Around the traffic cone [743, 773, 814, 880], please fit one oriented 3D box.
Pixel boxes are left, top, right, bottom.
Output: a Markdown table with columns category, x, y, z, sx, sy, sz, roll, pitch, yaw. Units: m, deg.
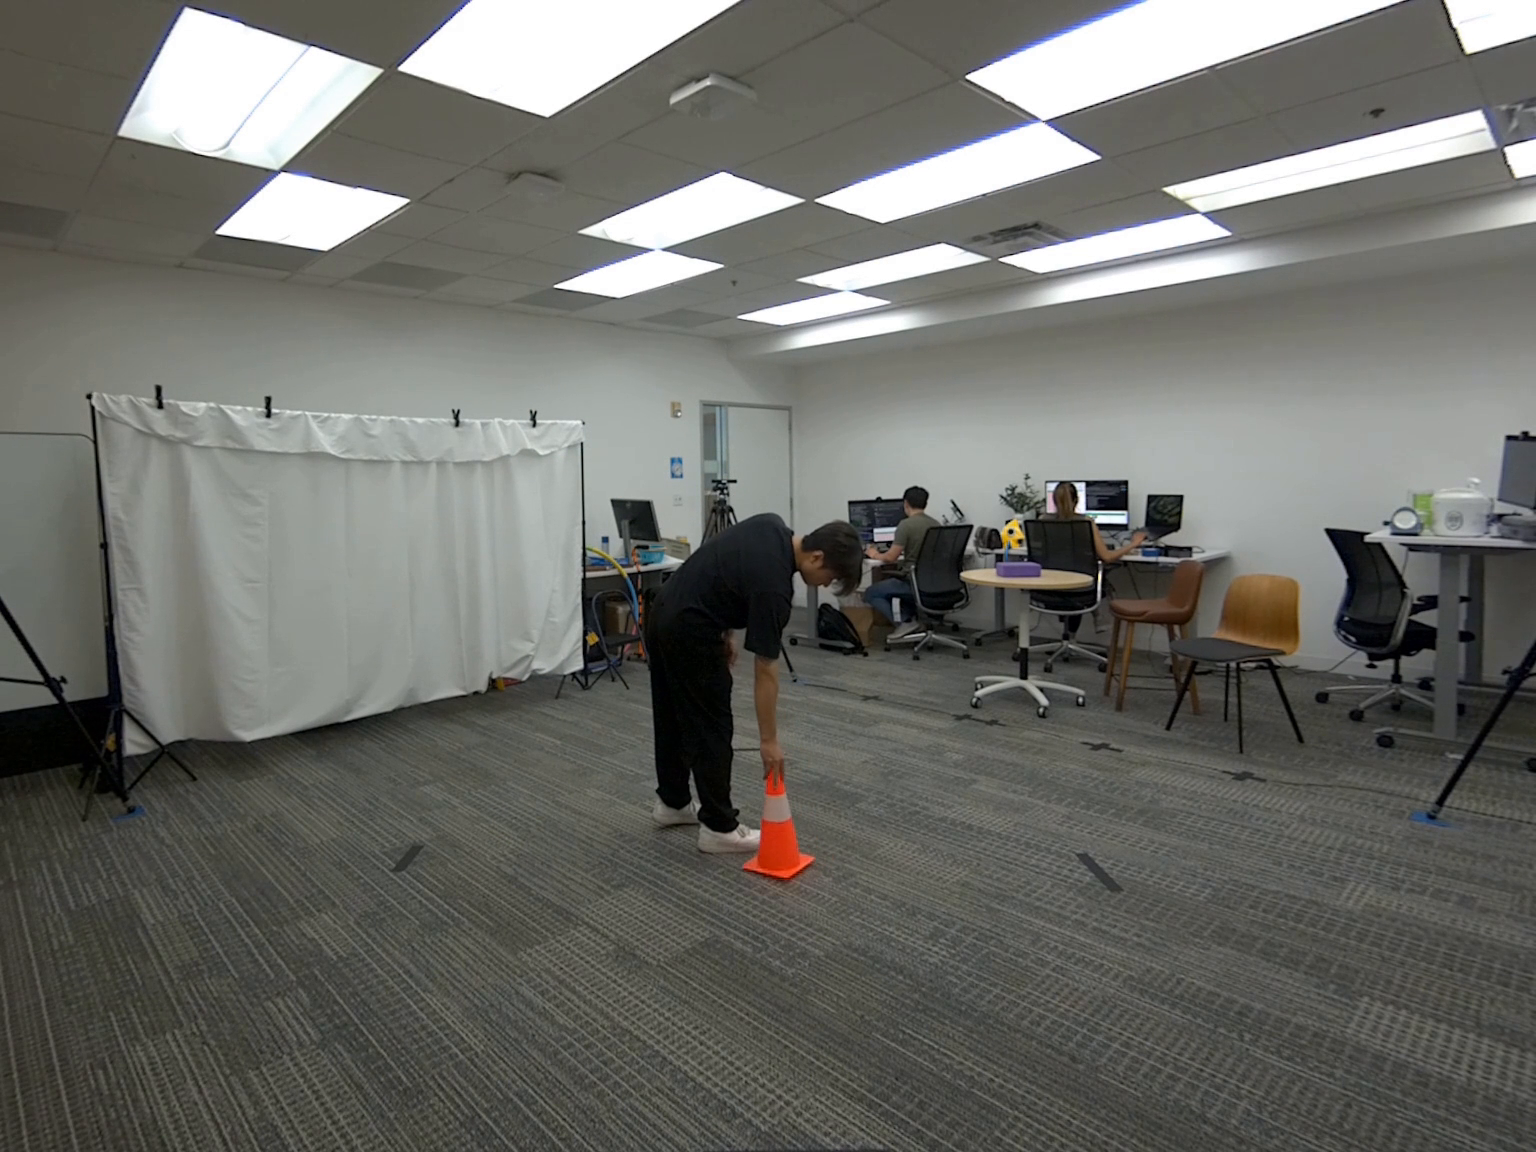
| category | x | y | z | sx | sy | sz | roll | pitch | yaw |
| --- | --- | --- | --- | --- | --- | --- | --- | --- | --- |
| traffic cone | 0.023 | 0.850 | 3.070 | 0.200 | 0.382 | 0.209 | -8 | 5 | -44 |
